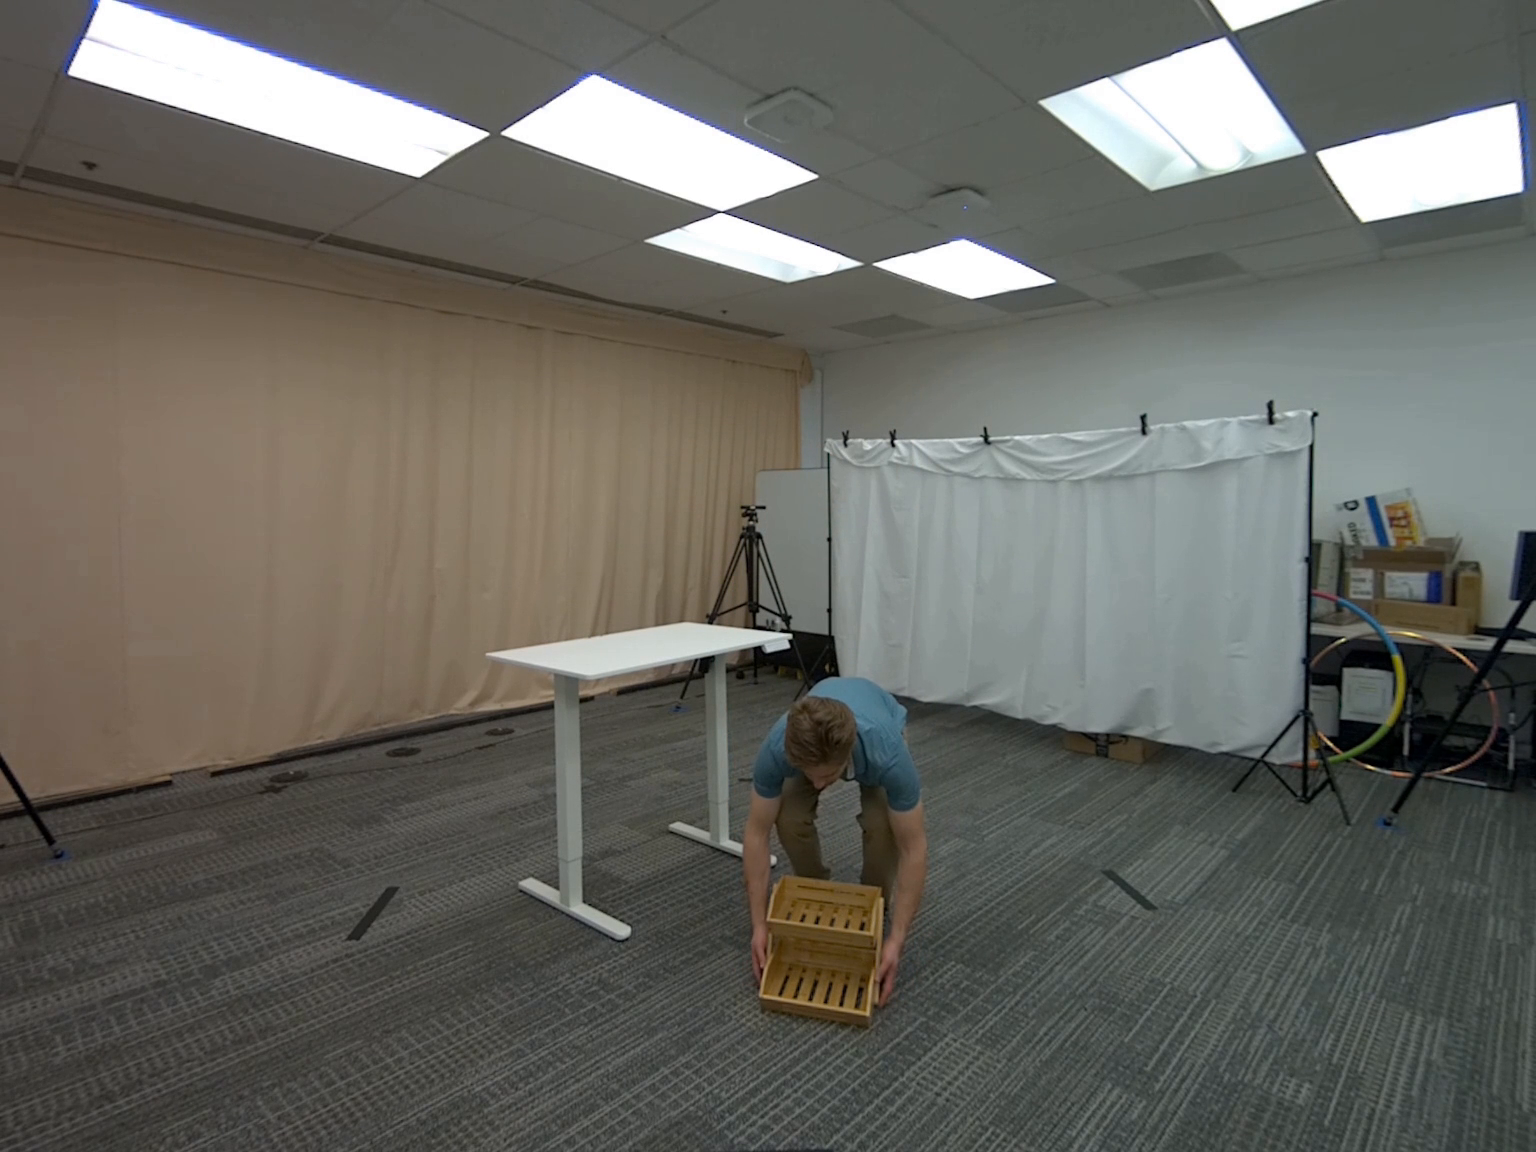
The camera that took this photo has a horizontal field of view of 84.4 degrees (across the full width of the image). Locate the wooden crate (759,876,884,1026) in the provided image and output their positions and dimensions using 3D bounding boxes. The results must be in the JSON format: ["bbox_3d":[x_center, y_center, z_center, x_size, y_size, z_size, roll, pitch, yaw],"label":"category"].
[{"bbox_3d":[0.161,1.062,2.398,0.330,0.273,0.297,2,4,16],"label":"wooden crate"}]
